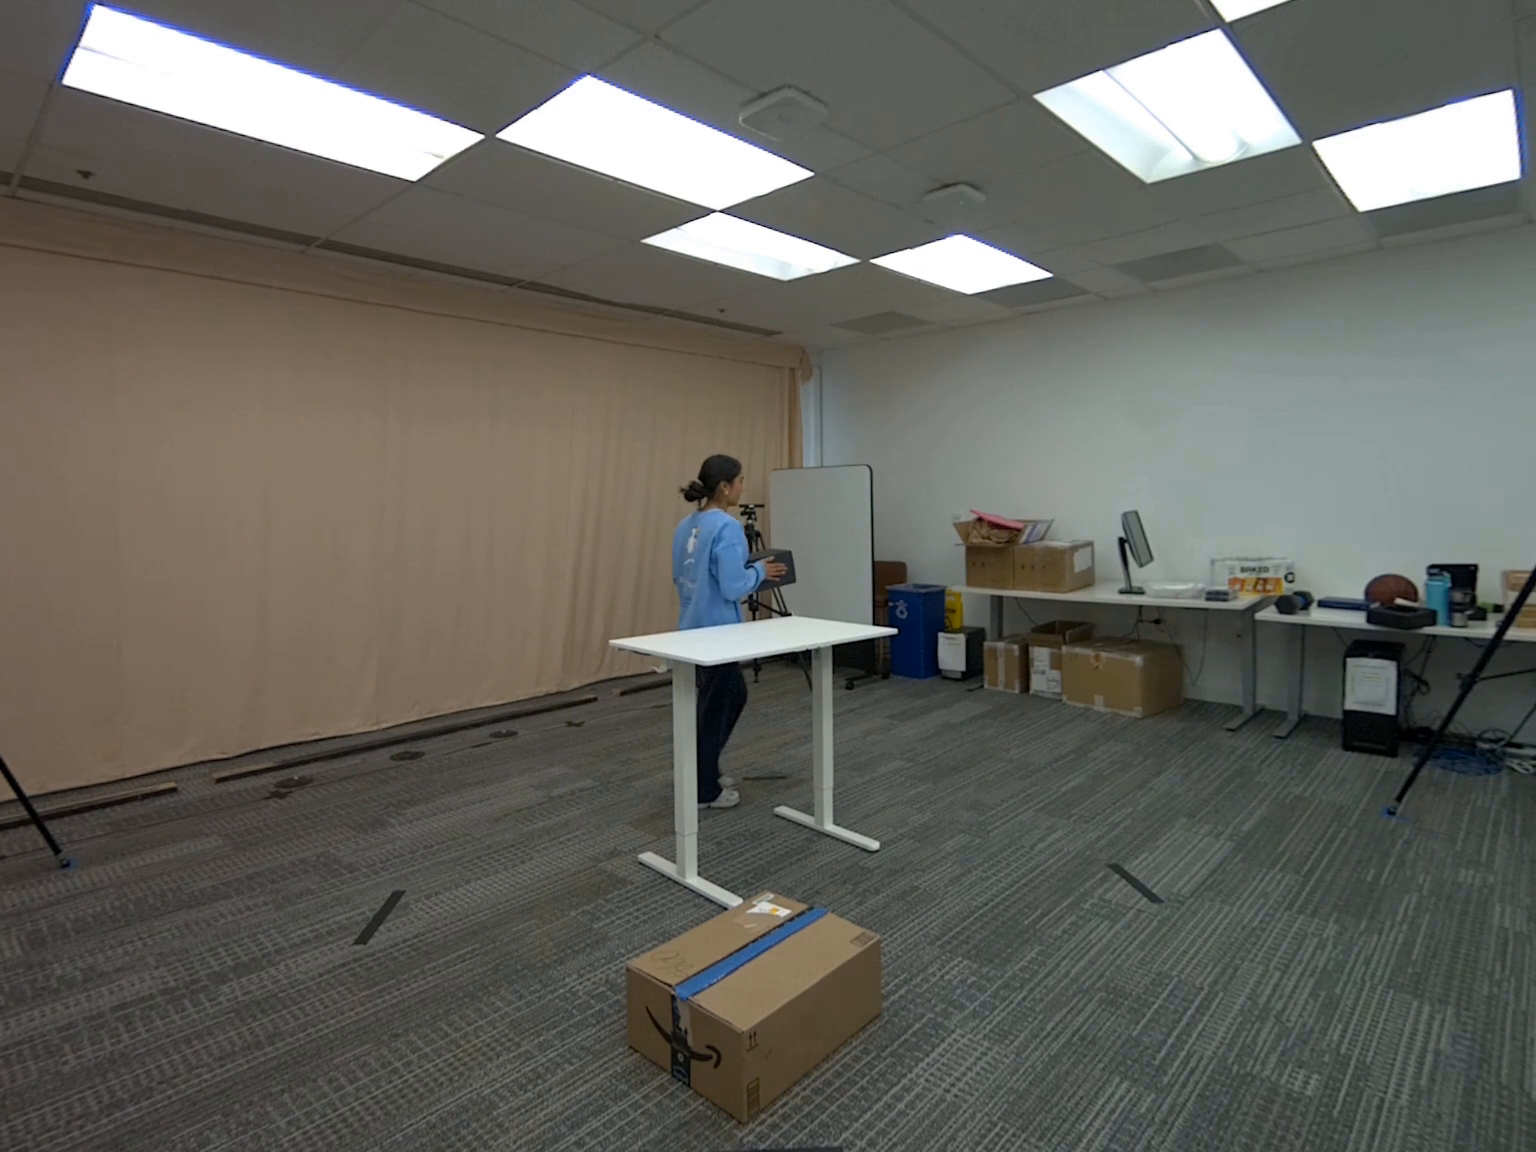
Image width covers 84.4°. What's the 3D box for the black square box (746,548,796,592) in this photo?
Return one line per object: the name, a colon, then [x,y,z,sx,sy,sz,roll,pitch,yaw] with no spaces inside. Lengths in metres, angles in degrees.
black square box: [-0.016,-0.023,4.001,0.224,0.155,0.222,-12,8,-21]
